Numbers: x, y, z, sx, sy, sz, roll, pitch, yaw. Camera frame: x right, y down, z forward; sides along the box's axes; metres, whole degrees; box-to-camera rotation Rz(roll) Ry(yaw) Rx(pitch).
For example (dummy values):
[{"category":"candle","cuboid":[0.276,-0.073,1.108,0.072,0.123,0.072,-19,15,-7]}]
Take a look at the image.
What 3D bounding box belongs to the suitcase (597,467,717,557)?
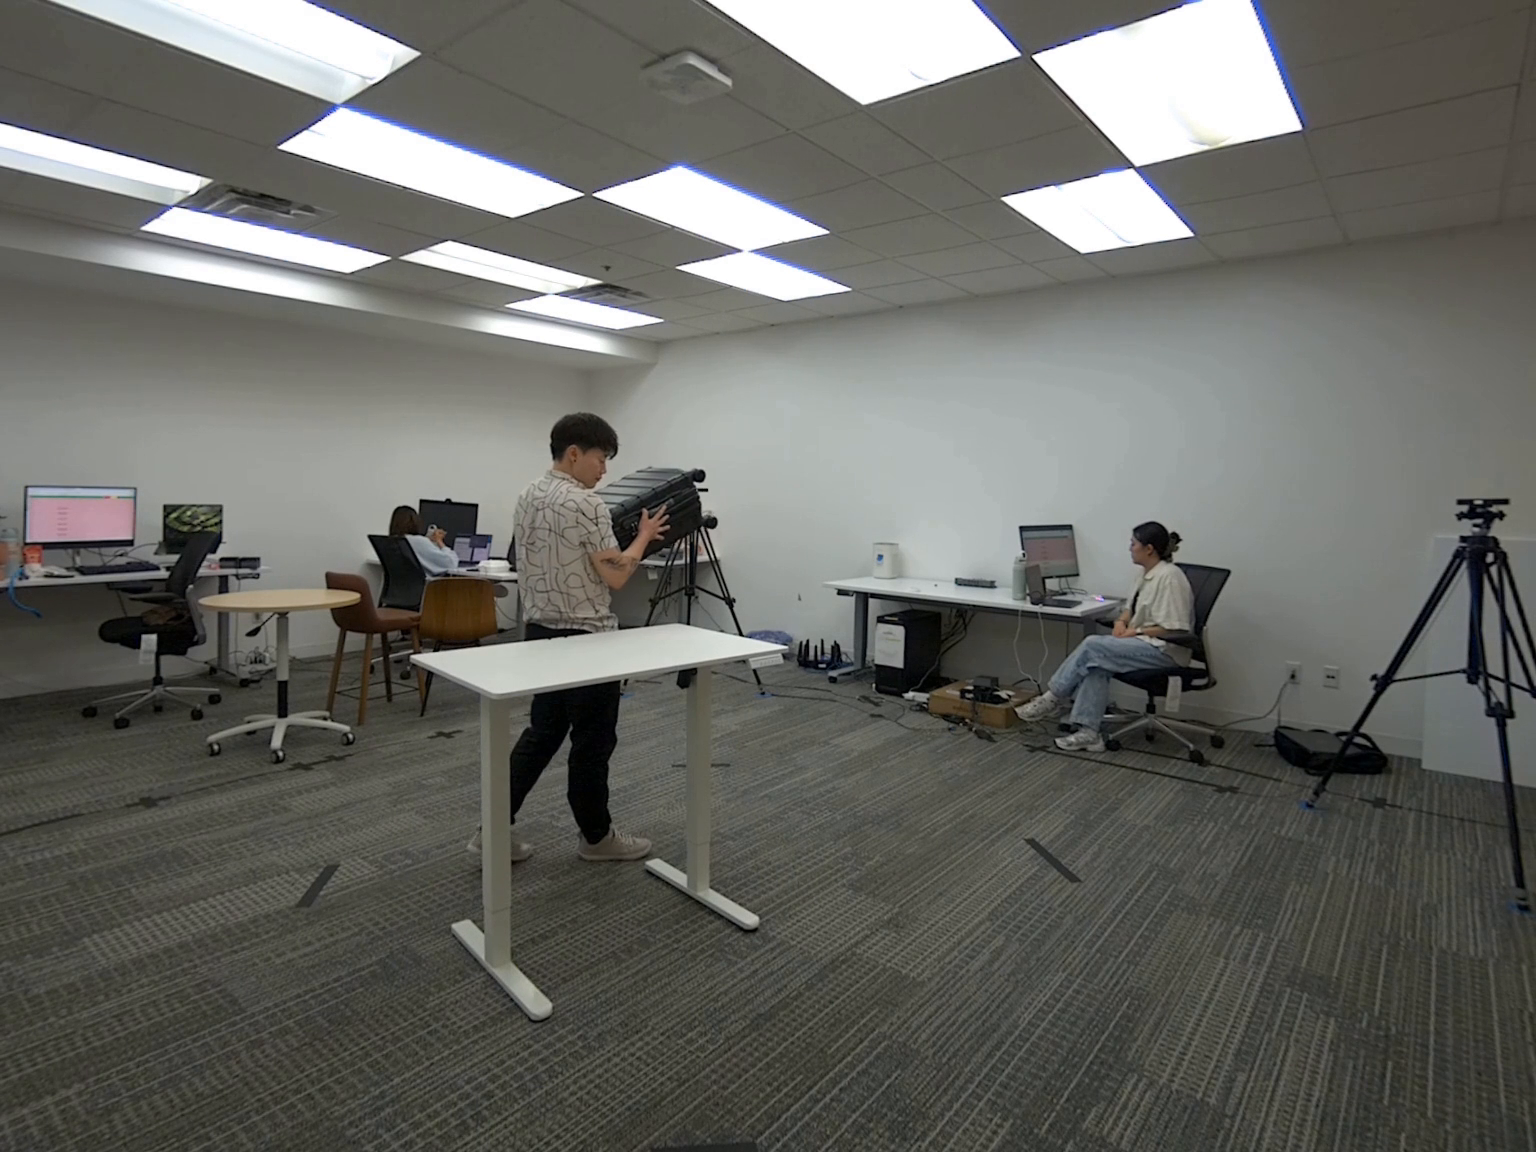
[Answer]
[{"category":"suitcase","cuboid":[-0.541,-0.249,3.455,0.389,0.243,0.542,8,29,41]}]
